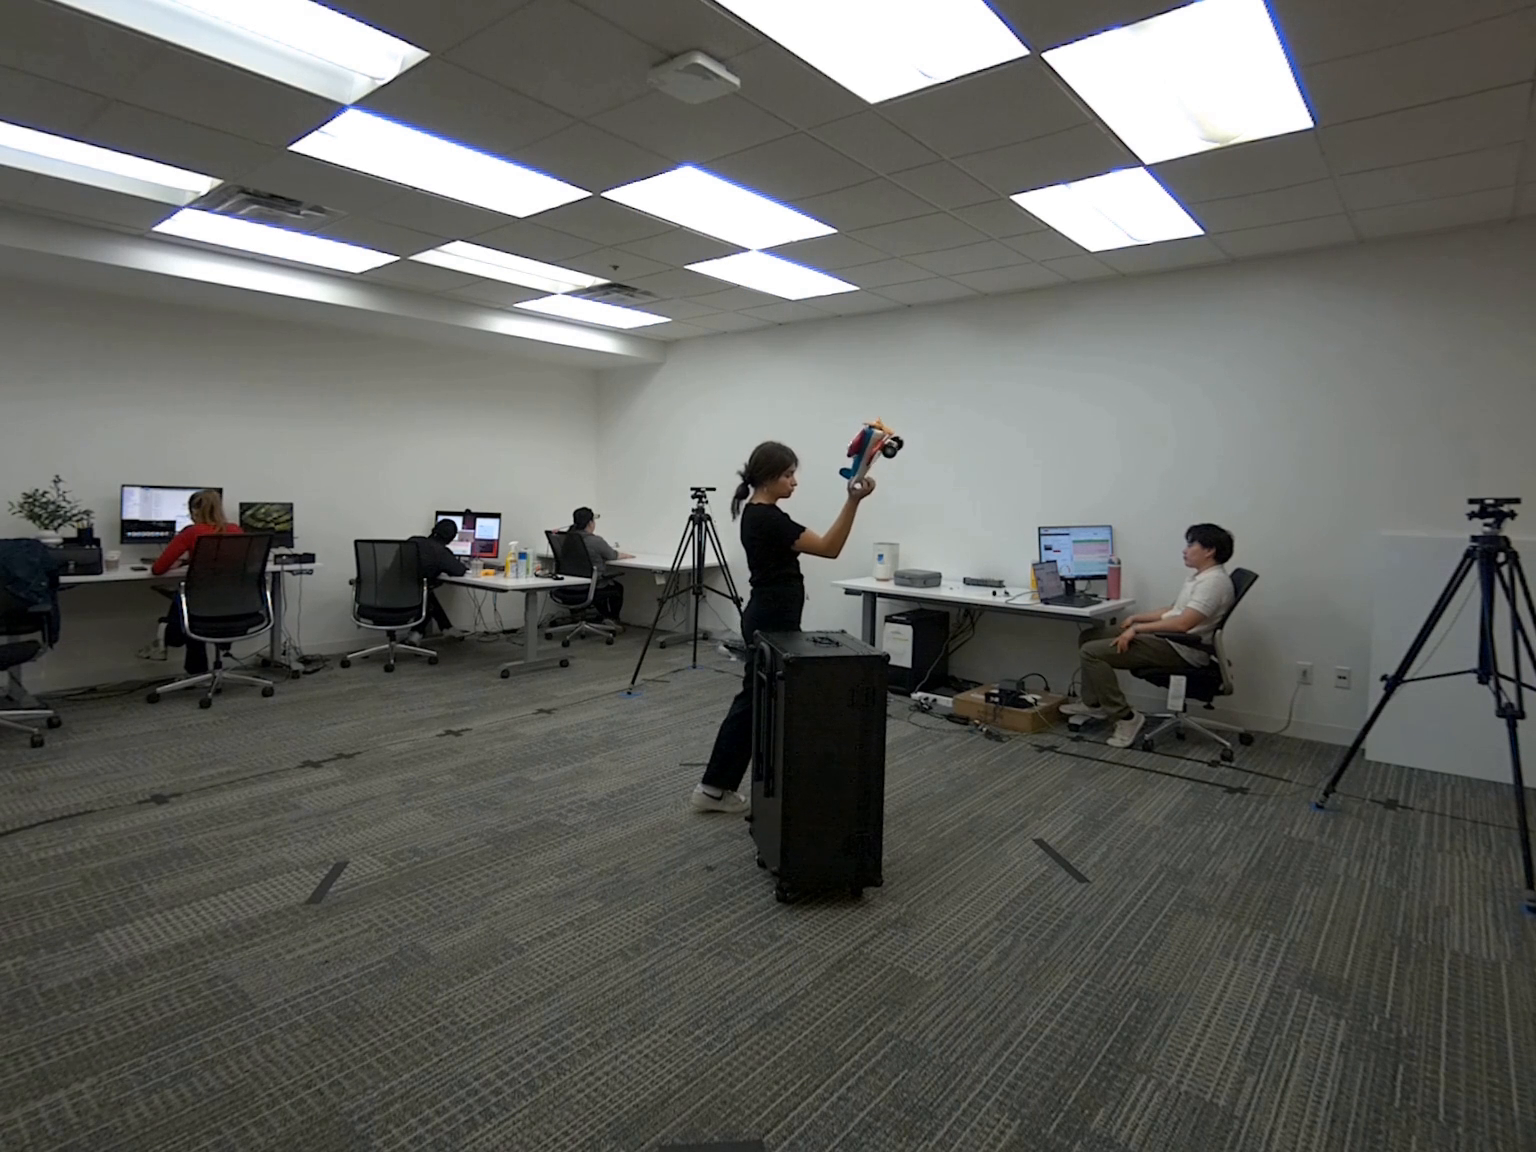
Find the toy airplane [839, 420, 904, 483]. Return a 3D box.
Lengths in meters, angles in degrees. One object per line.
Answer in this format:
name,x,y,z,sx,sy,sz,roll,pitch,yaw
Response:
toy airplane,0.350,-0.443,3.118,0.158,0.259,0.249,41,6,4
